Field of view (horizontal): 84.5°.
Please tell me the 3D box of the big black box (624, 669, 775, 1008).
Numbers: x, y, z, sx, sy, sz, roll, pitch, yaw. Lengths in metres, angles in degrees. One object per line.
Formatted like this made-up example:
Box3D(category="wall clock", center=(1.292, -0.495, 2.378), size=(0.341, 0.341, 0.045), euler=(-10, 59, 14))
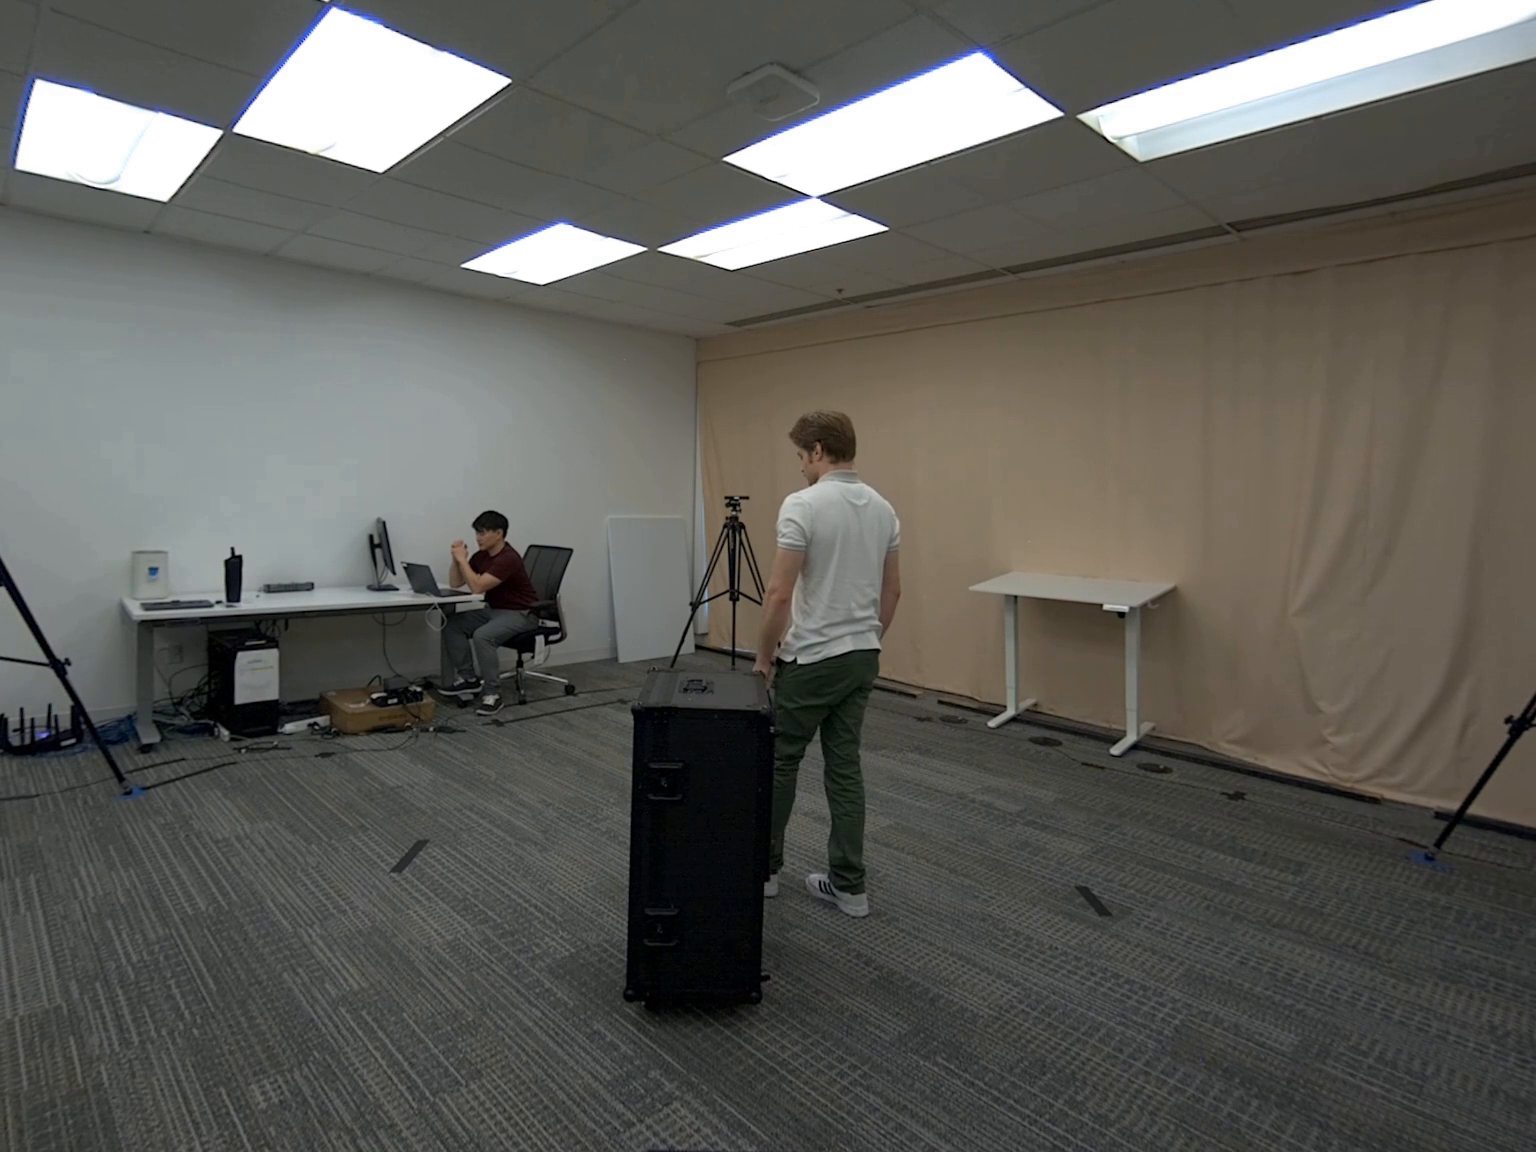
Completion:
Box3D(category="big black box", center=(-0.189, 0.736, 2.418), size=(0.396, 0.860, 0.523), euler=(2, 3, -2))
